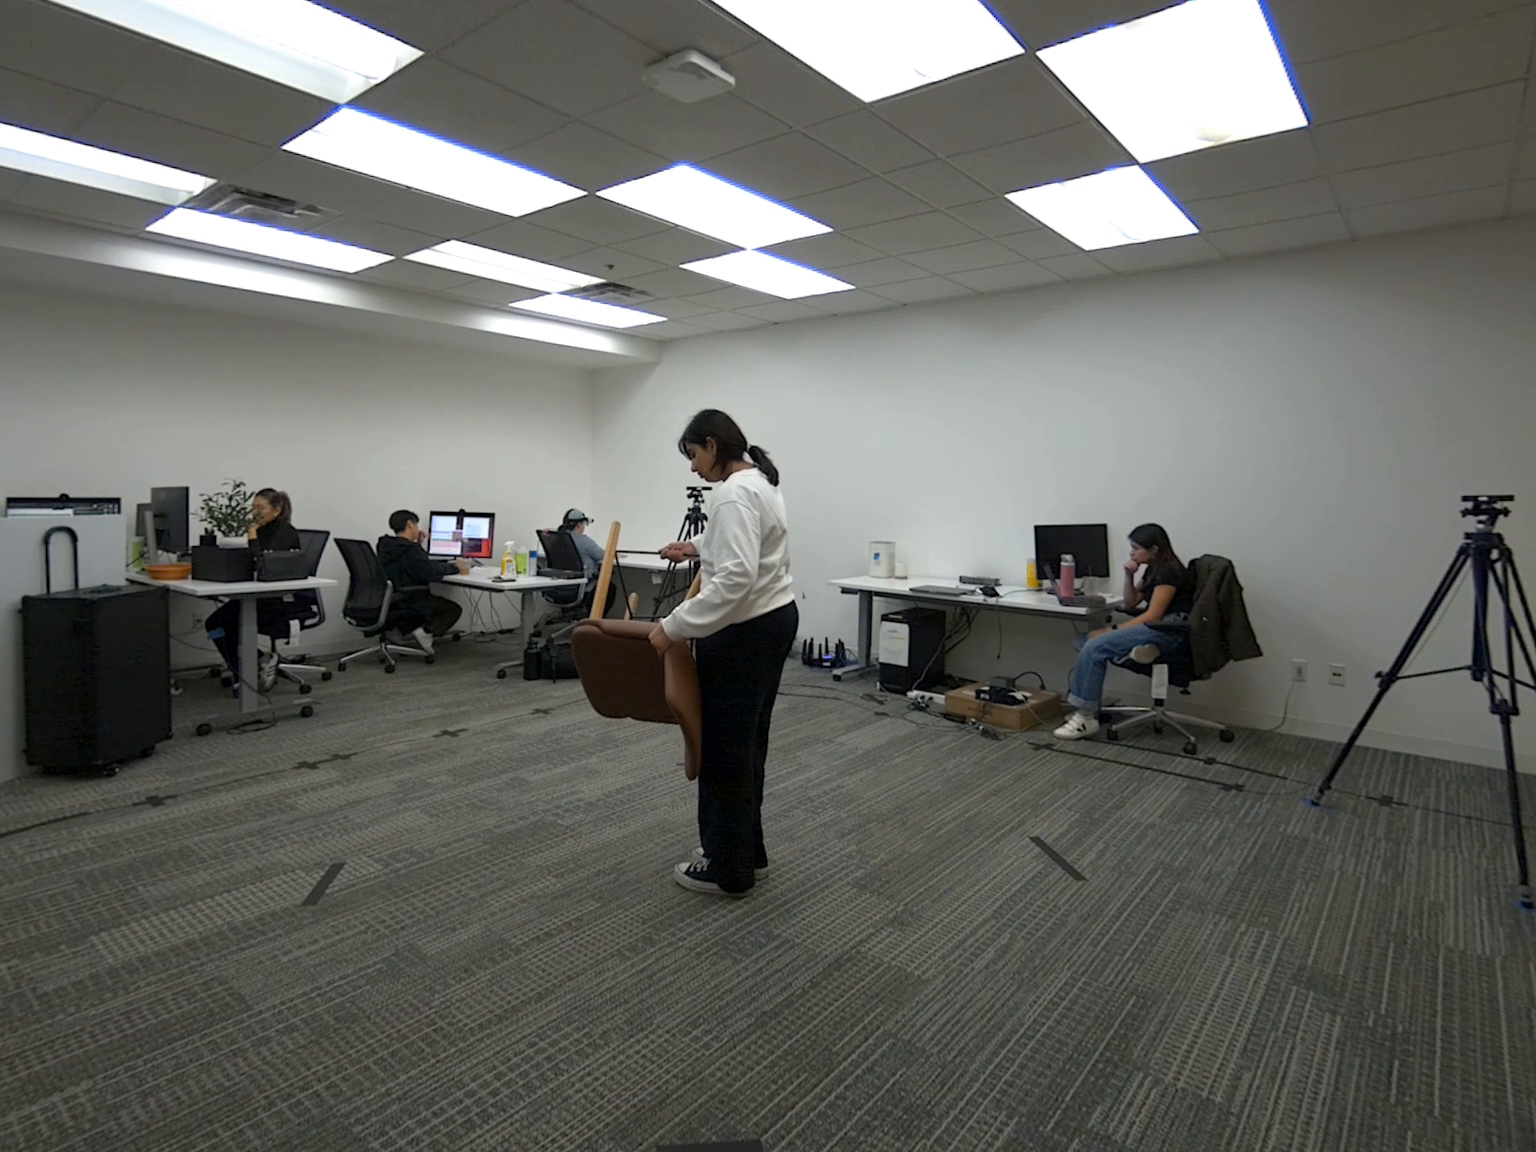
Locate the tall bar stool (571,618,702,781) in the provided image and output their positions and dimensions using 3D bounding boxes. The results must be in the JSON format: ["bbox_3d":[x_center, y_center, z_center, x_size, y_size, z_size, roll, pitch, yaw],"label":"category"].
[{"bbox_3d":[-0.417,0.238,3.007,0.473,0.442,0.909,-1,40,9],"label":"tall bar stool"}]
